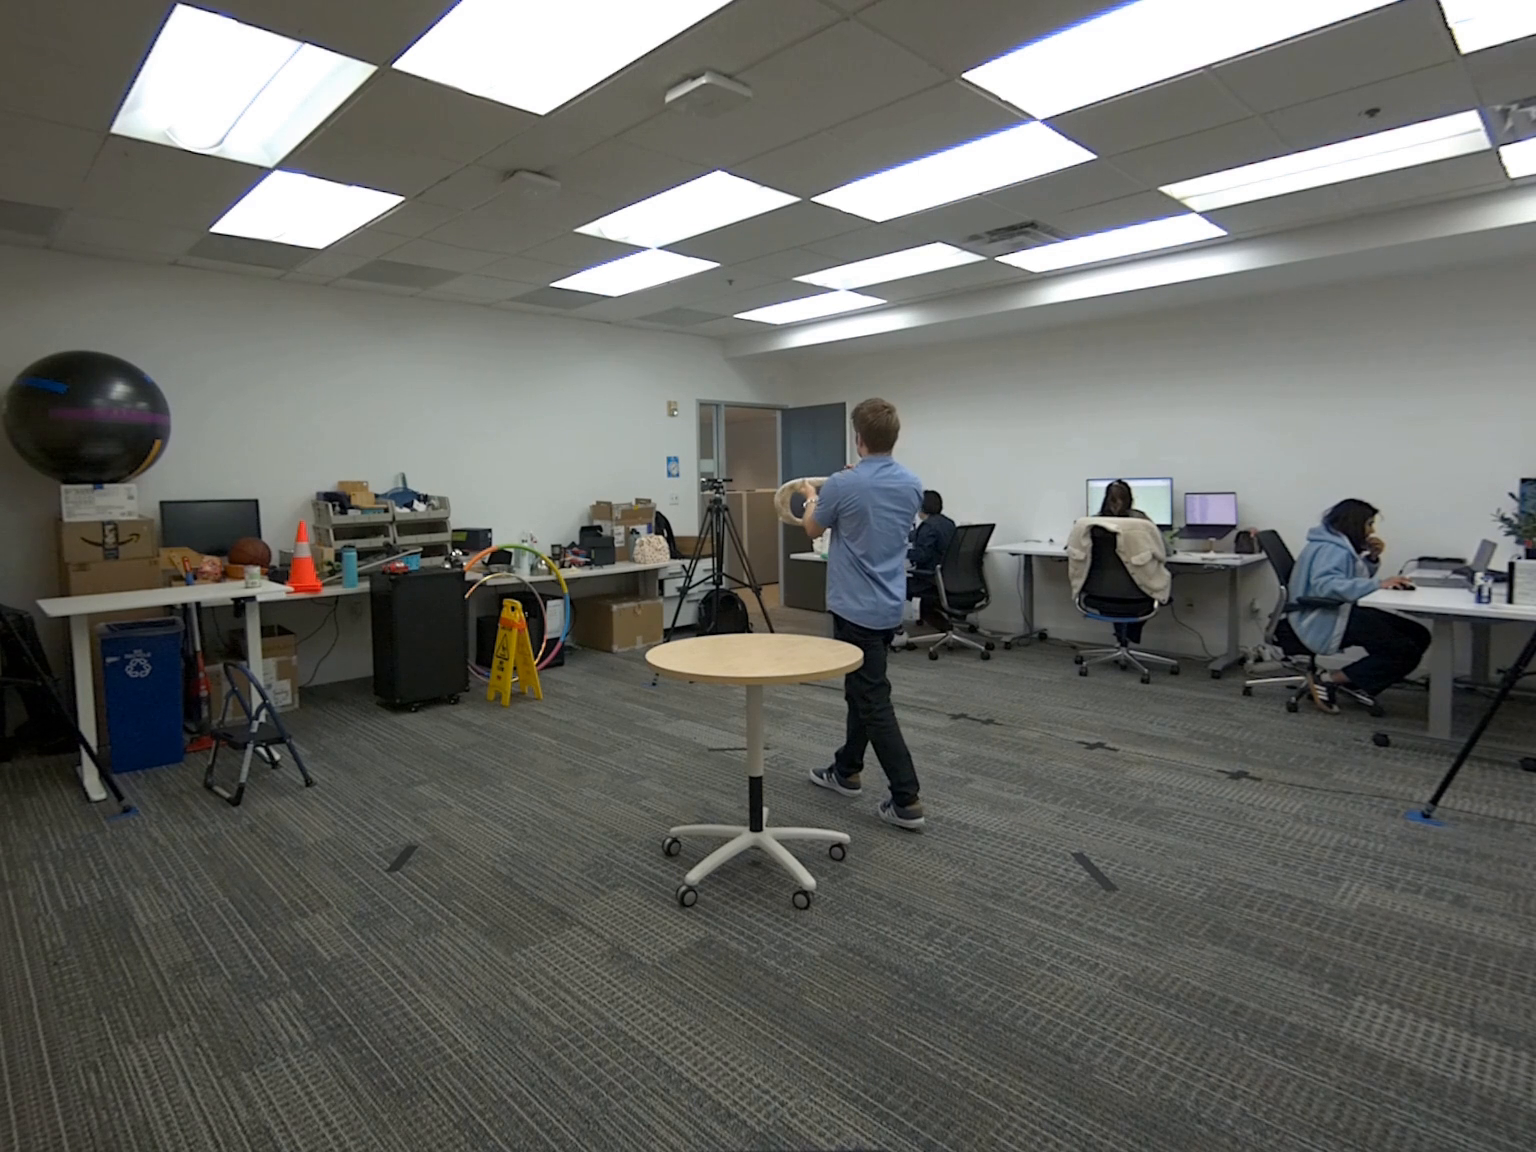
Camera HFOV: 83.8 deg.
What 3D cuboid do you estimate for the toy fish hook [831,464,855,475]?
[{"bbox_3d":[0.297,-0.389,3.987,0.509,0.221,0.049,-19,12,9],"label":"toy fish hook"}]
